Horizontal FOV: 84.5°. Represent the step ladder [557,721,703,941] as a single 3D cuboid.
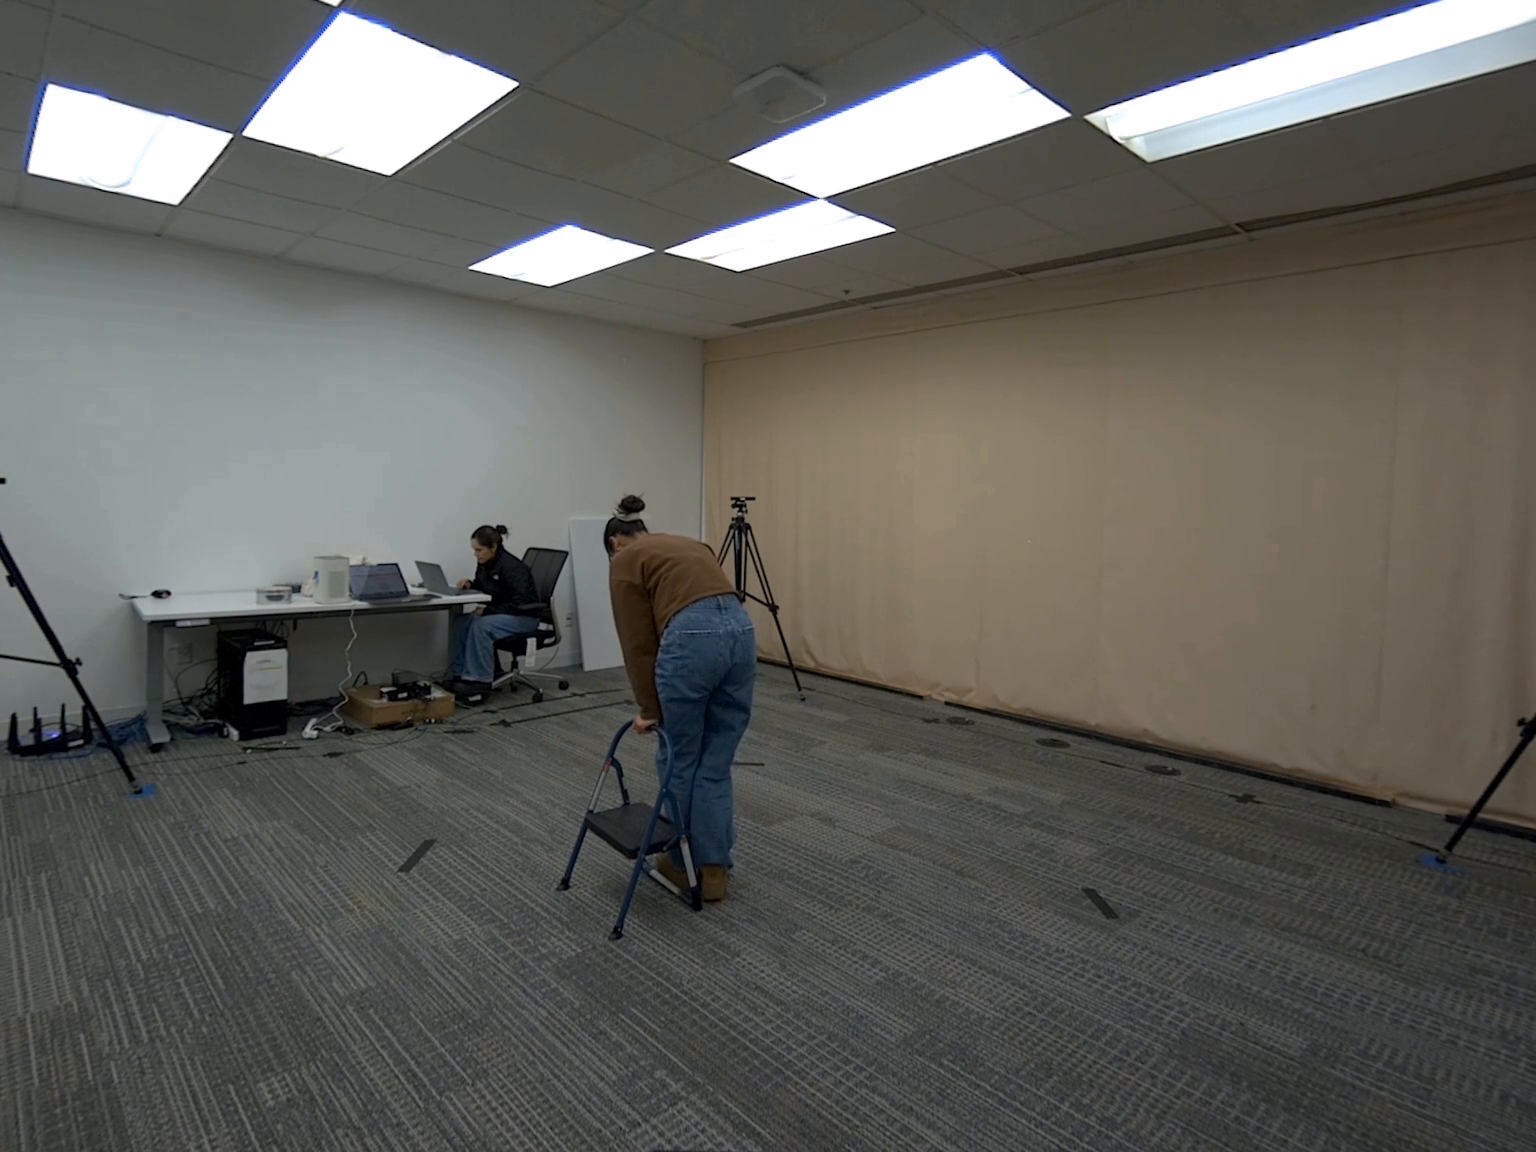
[{"bbox_3d":[-0.481,0.816,2.882,0.341,0.605,0.441,0,4,-37],"label":"step ladder"}]
